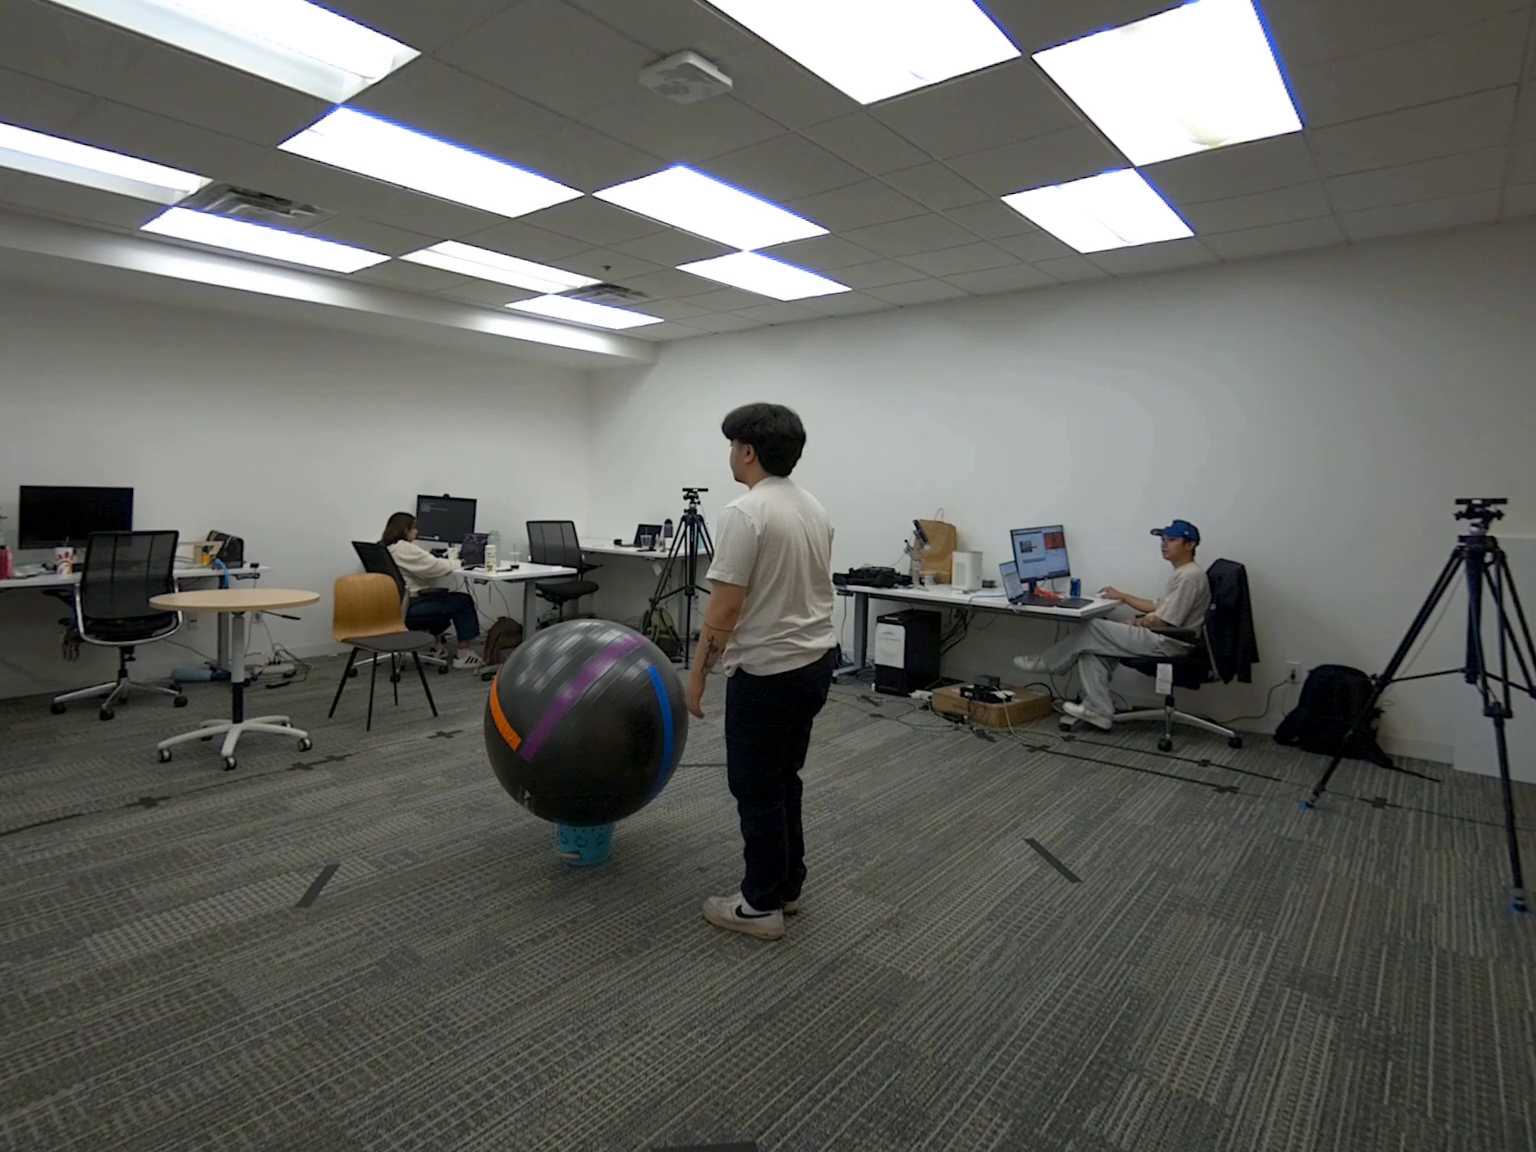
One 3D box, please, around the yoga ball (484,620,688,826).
[{"bbox_3d":[-0.688,0.546,3.196,0.757,0.755,0.762,1,4,-2],"label":"yoga ball"}]
